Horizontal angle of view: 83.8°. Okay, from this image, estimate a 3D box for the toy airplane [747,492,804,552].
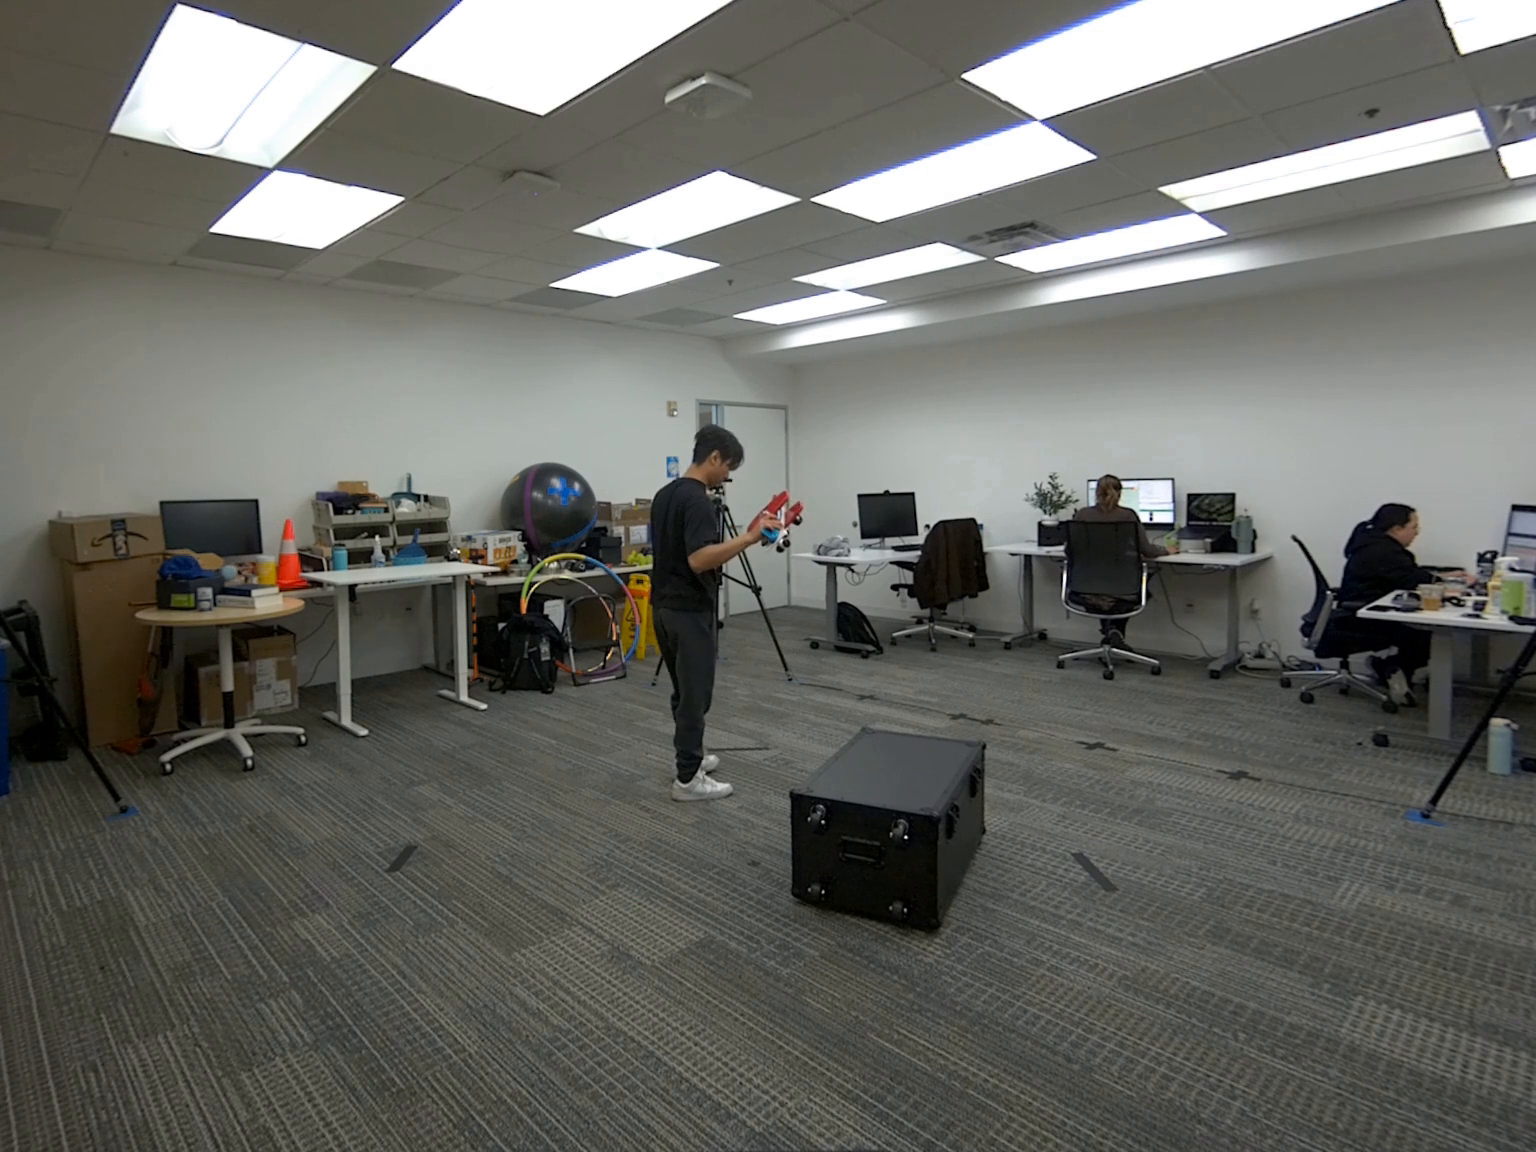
[{"bbox_3d":[0.046,-0.213,3.445,0.155,0.251,0.262,41,1,-8],"label":"toy airplane"}]
